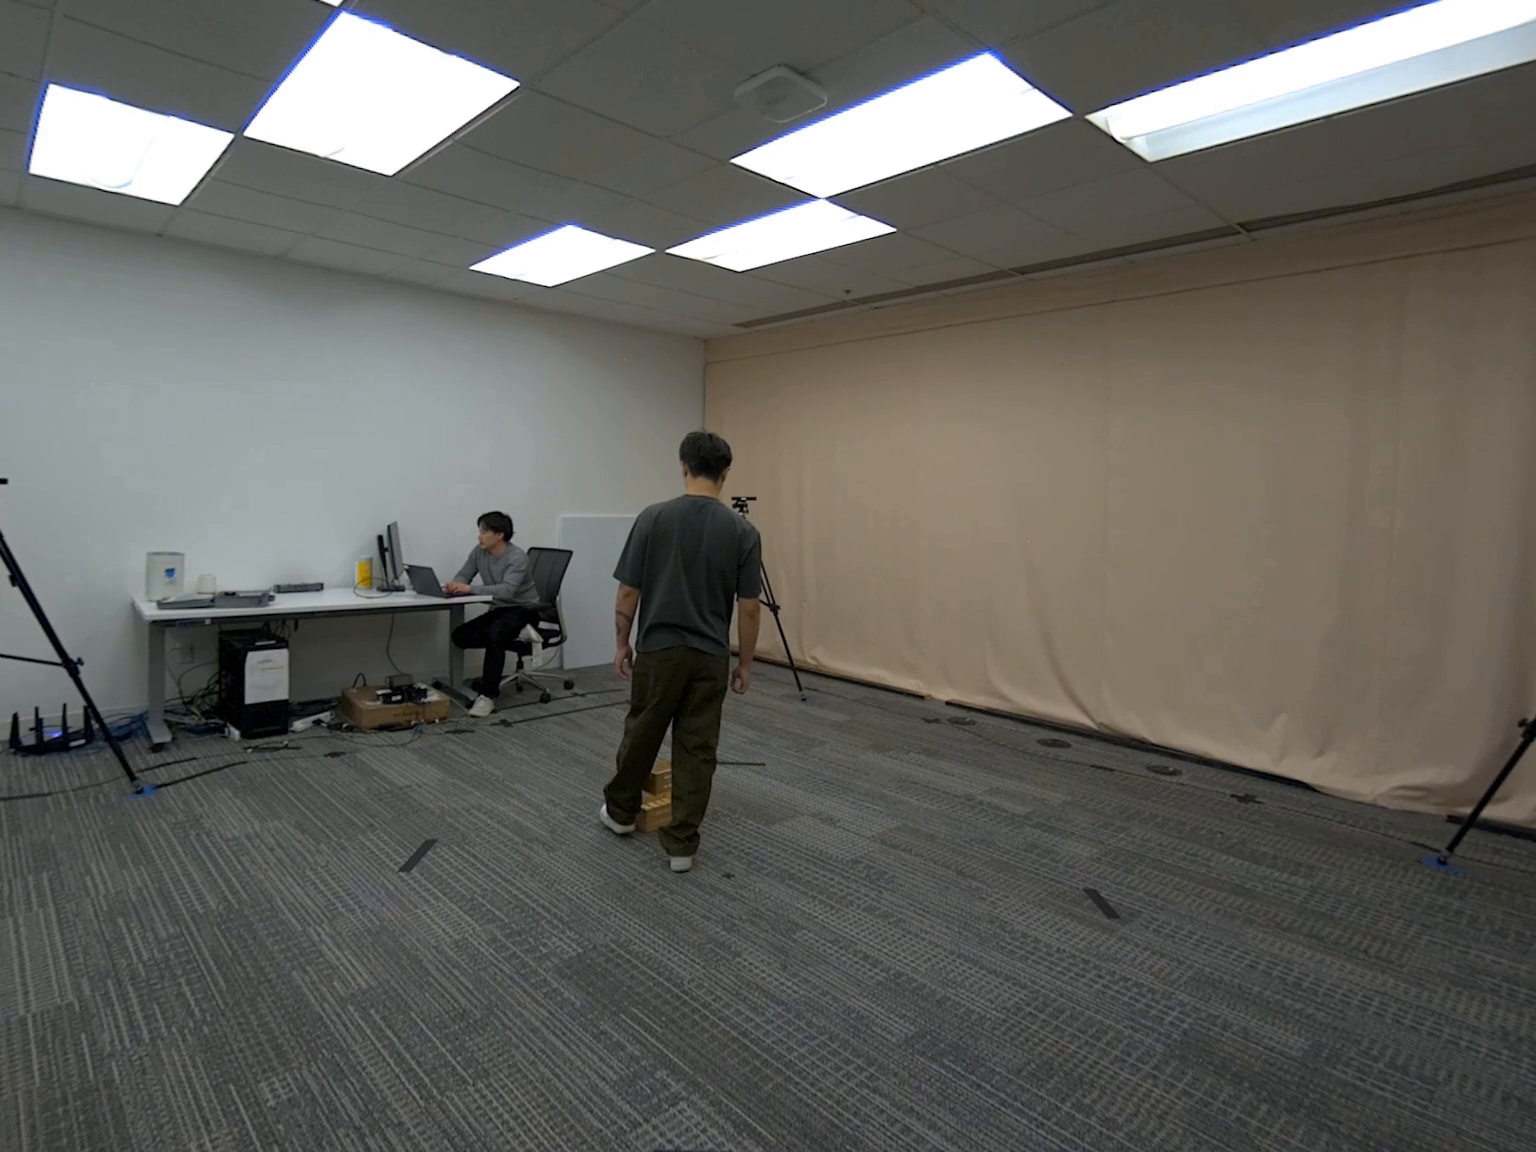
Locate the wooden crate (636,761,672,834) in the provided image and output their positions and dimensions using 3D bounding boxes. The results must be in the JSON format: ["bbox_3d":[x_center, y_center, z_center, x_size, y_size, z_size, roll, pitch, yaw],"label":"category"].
[{"bbox_3d":[-0.484,0.917,3.655,0.310,0.272,0.317,6,6,42],"label":"wooden crate"}]
